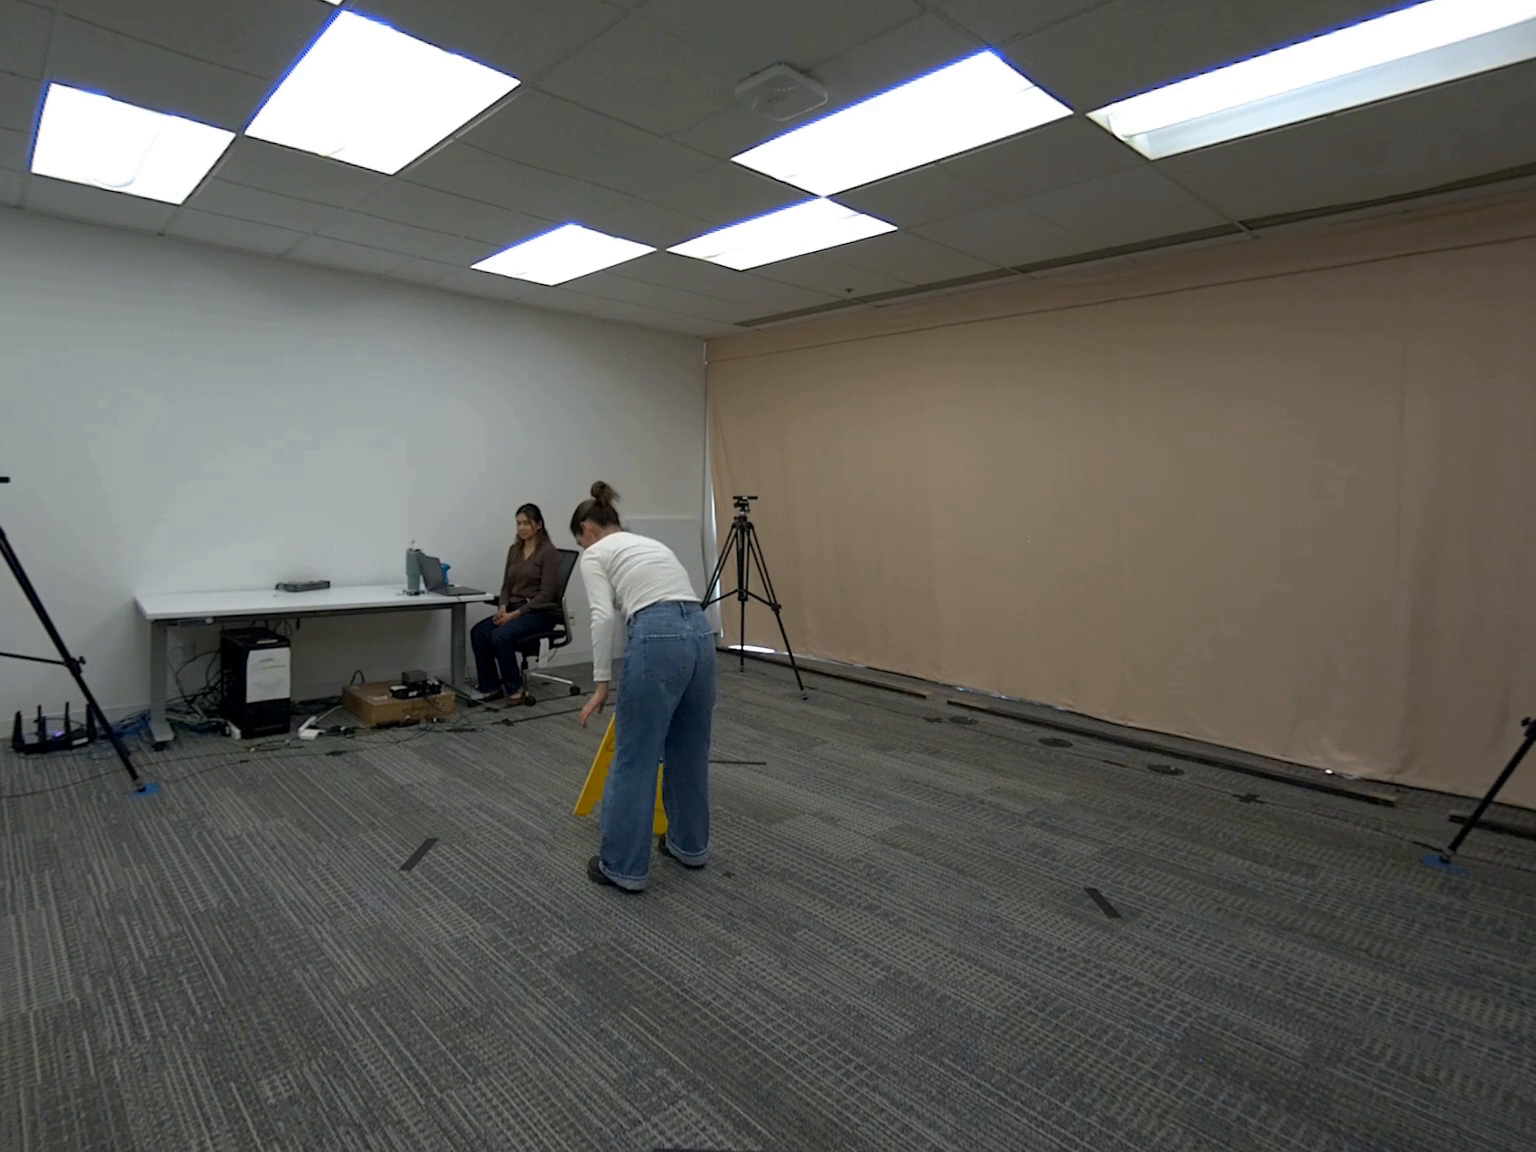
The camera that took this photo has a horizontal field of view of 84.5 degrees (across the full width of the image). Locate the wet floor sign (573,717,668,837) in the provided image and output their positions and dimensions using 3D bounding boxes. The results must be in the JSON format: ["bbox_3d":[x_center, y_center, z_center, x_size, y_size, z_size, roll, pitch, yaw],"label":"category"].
[{"bbox_3d":[-0.552,0.719,3.513,0.297,0.649,0.274,5,-10,42],"label":"wet floor sign"}]
